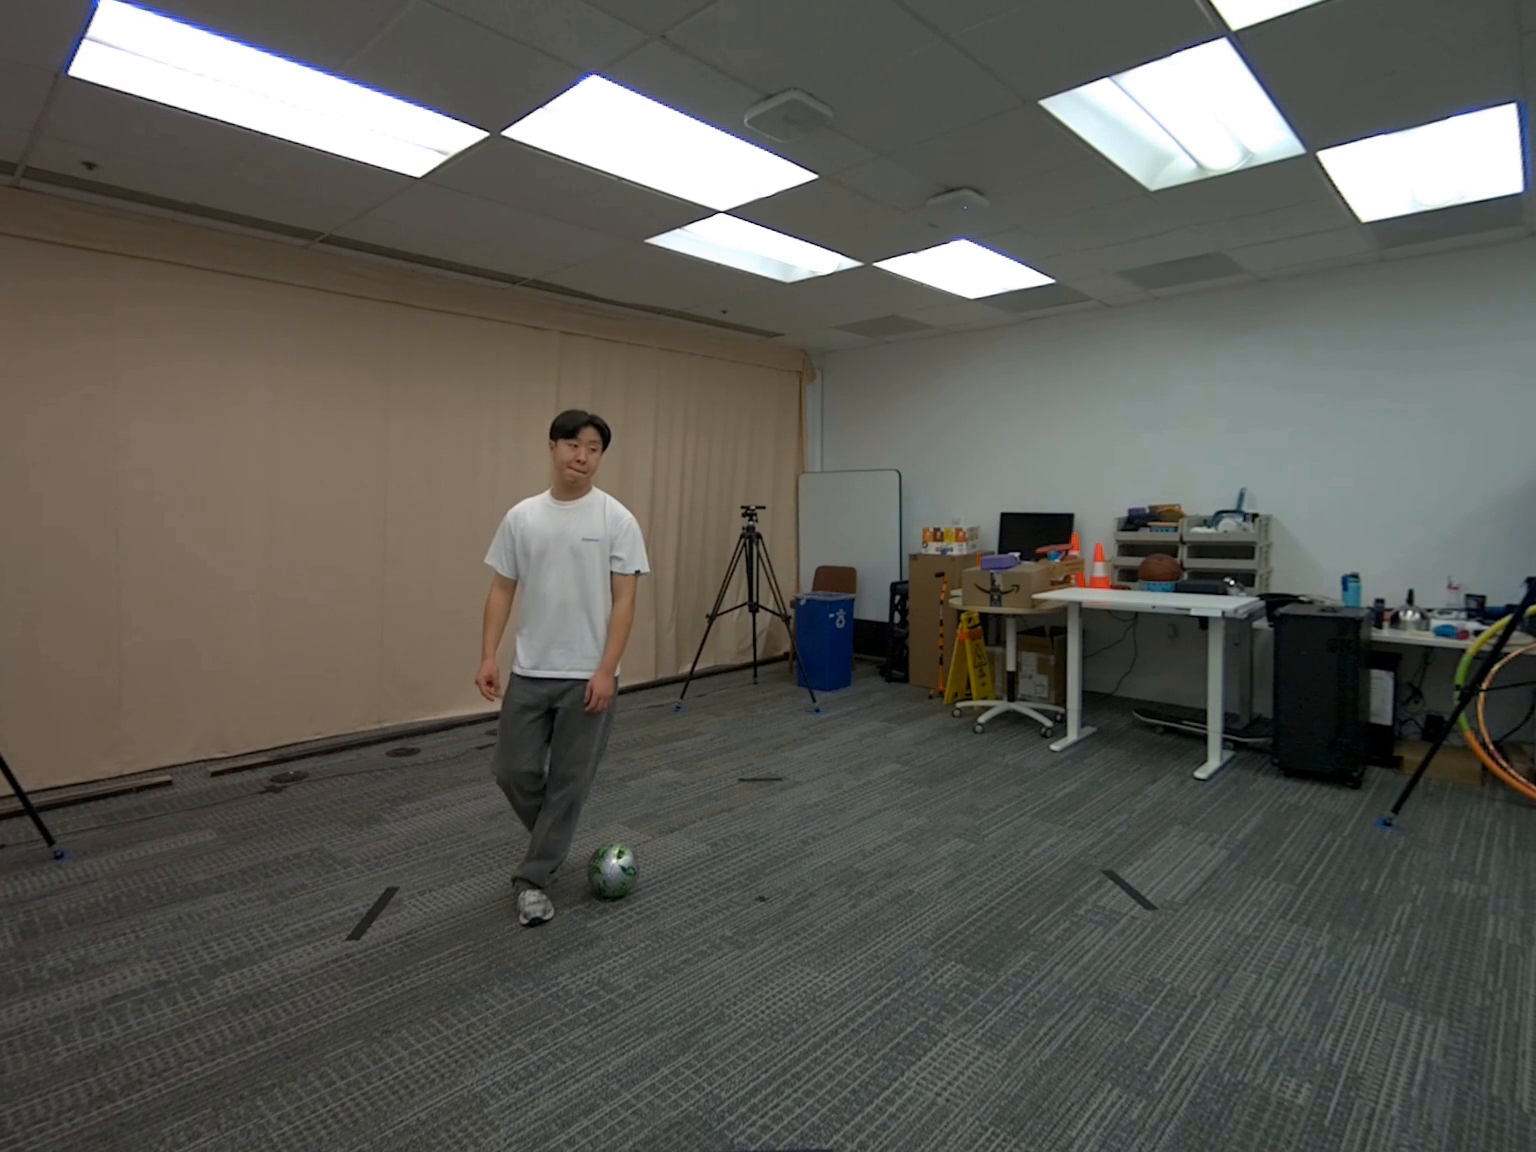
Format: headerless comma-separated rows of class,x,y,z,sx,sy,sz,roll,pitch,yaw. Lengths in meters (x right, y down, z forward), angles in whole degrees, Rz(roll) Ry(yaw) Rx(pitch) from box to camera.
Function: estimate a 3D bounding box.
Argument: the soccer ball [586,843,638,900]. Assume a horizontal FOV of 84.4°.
soccer ball,-0.546,1.056,3.007,0.187,0.187,0.188,0,4,-2
